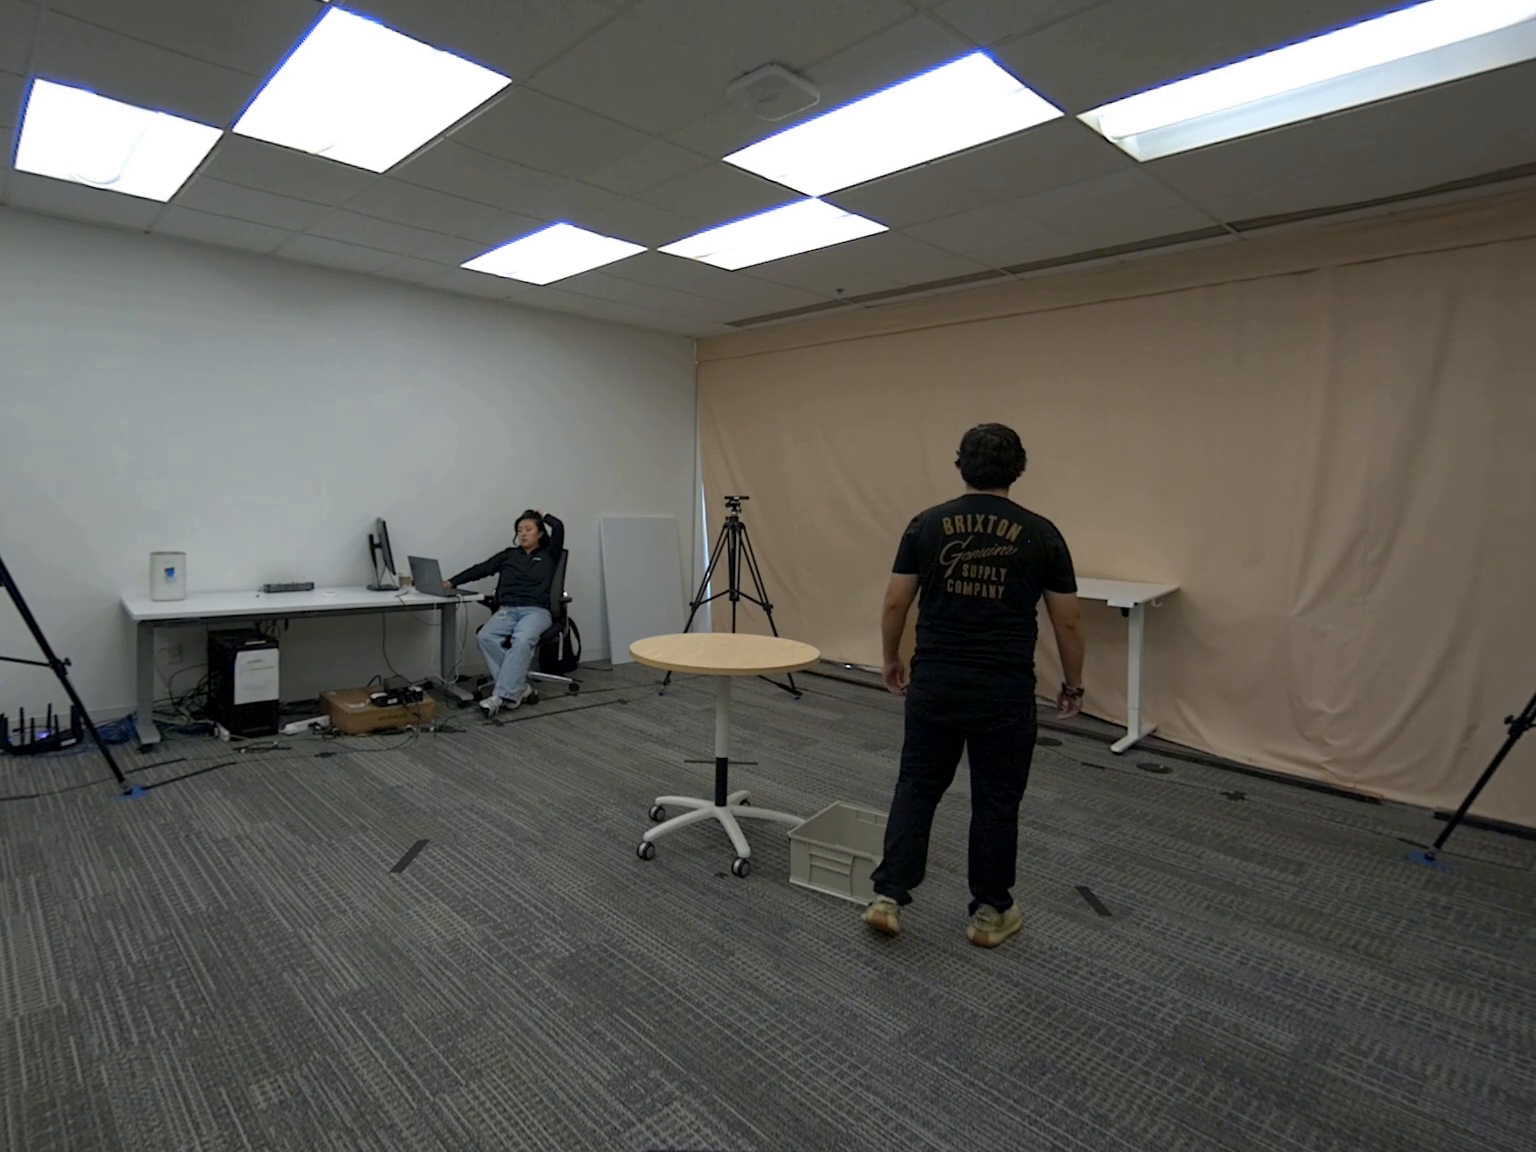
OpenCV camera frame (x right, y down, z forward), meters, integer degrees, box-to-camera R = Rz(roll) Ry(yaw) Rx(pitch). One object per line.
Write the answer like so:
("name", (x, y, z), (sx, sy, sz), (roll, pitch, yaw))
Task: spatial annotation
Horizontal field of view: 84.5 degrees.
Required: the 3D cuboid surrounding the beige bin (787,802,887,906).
("beige bin", (0.316, 1.030, 3.131), (0.386, 0.188, 0.414), (4, 5, 31))
